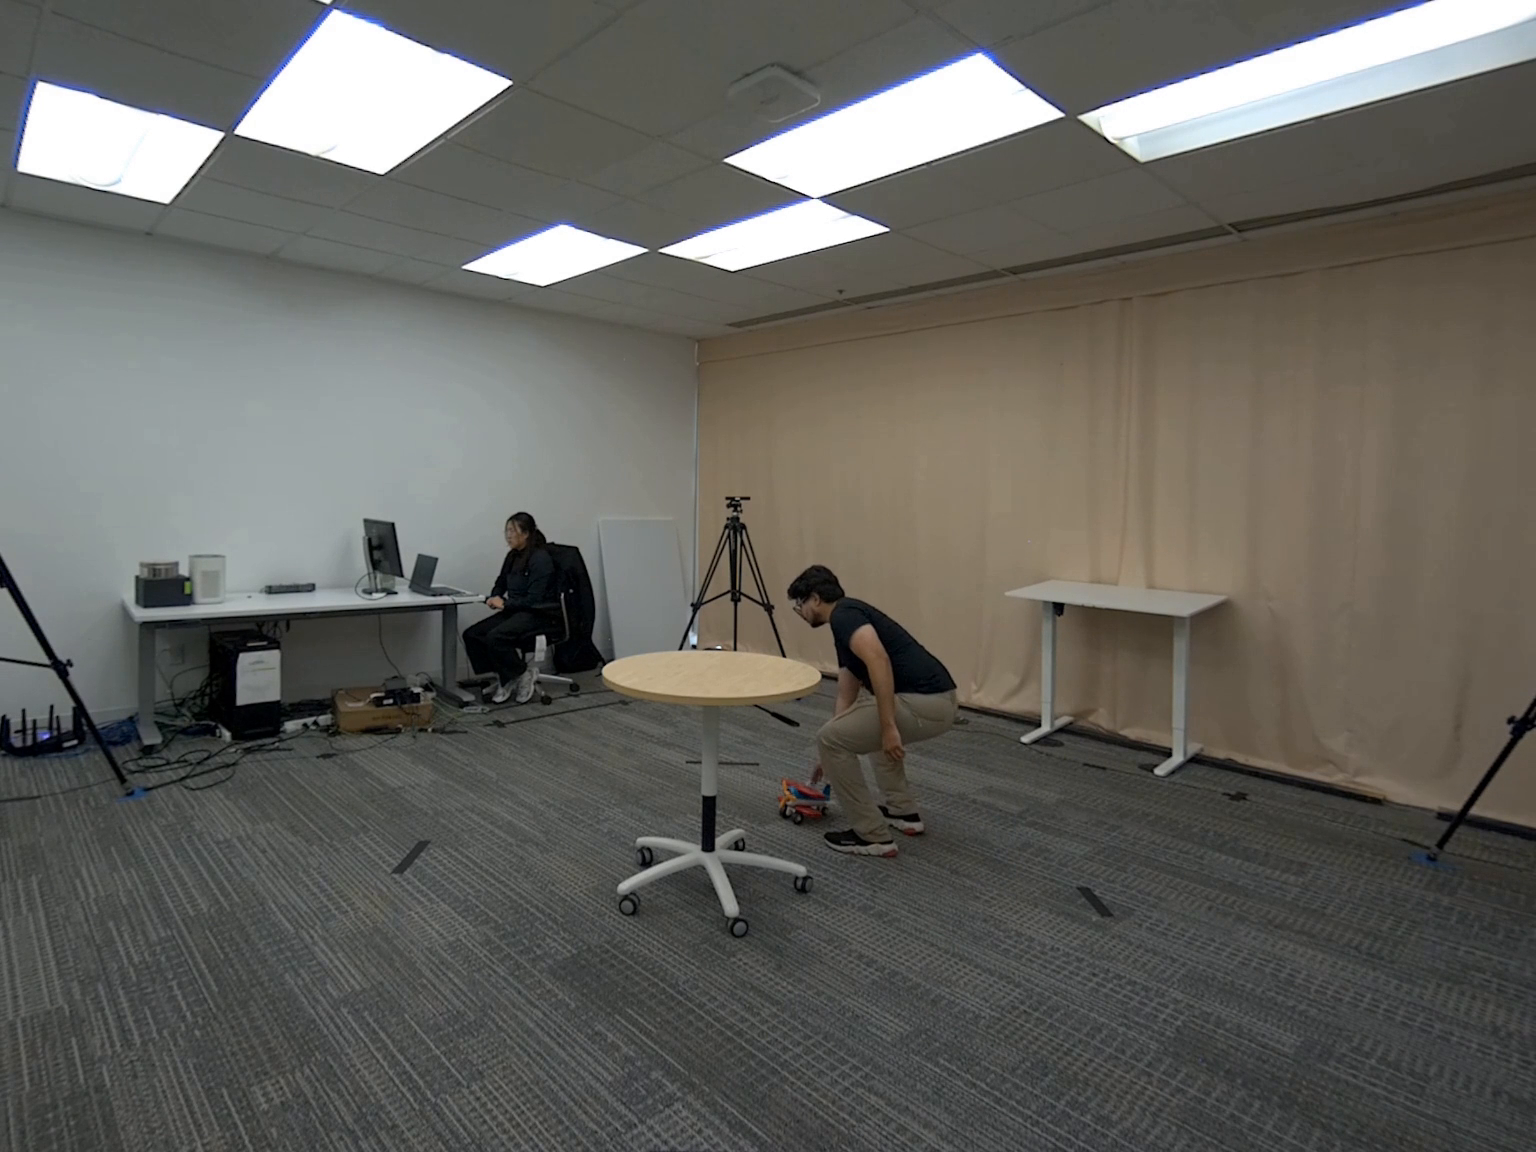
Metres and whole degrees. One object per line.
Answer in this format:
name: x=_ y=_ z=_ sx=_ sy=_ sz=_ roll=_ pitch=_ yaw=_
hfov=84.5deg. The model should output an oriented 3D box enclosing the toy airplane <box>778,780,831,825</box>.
toy airplane: x=0.151 y=0.984 z=3.719 sx=0.256 sy=0.156 sz=0.255 roll=3 pitch=7 yaw=28
